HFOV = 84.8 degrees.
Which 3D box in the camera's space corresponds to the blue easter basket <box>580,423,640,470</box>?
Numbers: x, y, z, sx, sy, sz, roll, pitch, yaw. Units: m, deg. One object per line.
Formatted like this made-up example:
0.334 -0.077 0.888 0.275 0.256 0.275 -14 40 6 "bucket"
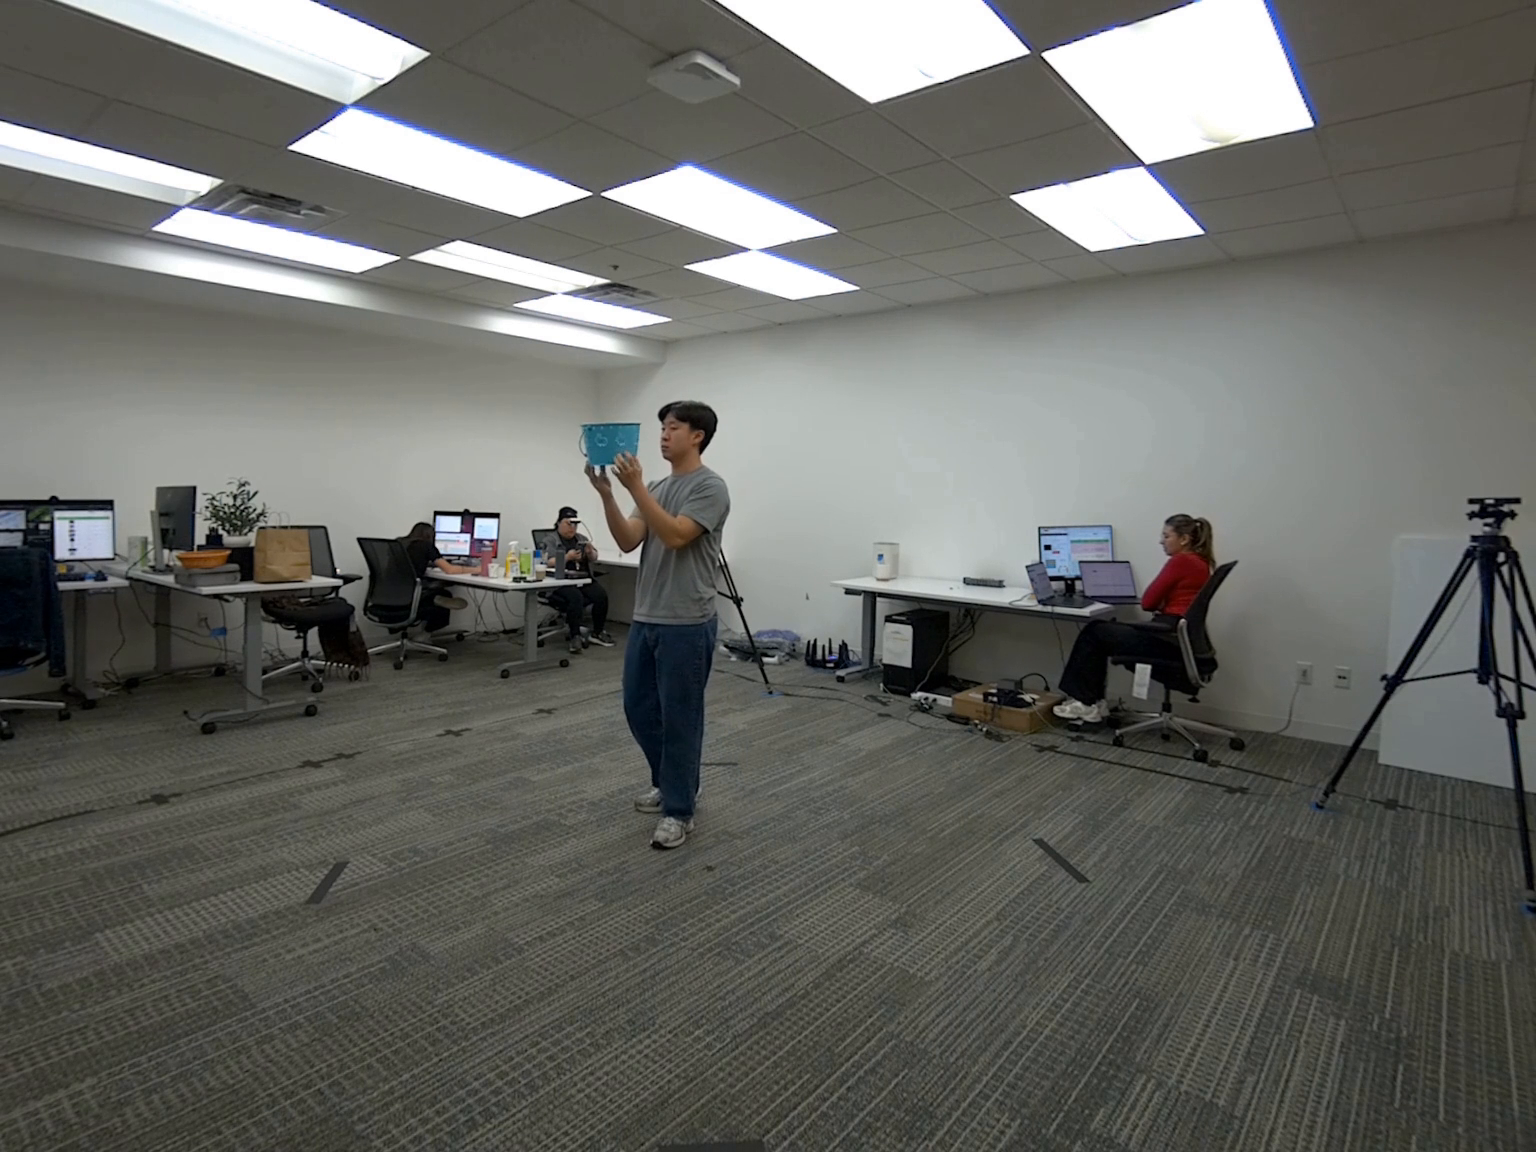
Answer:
-0.605 -0.501 3.205 0.243 0.155 0.245 -1 8 -2 "blue easter basket"
